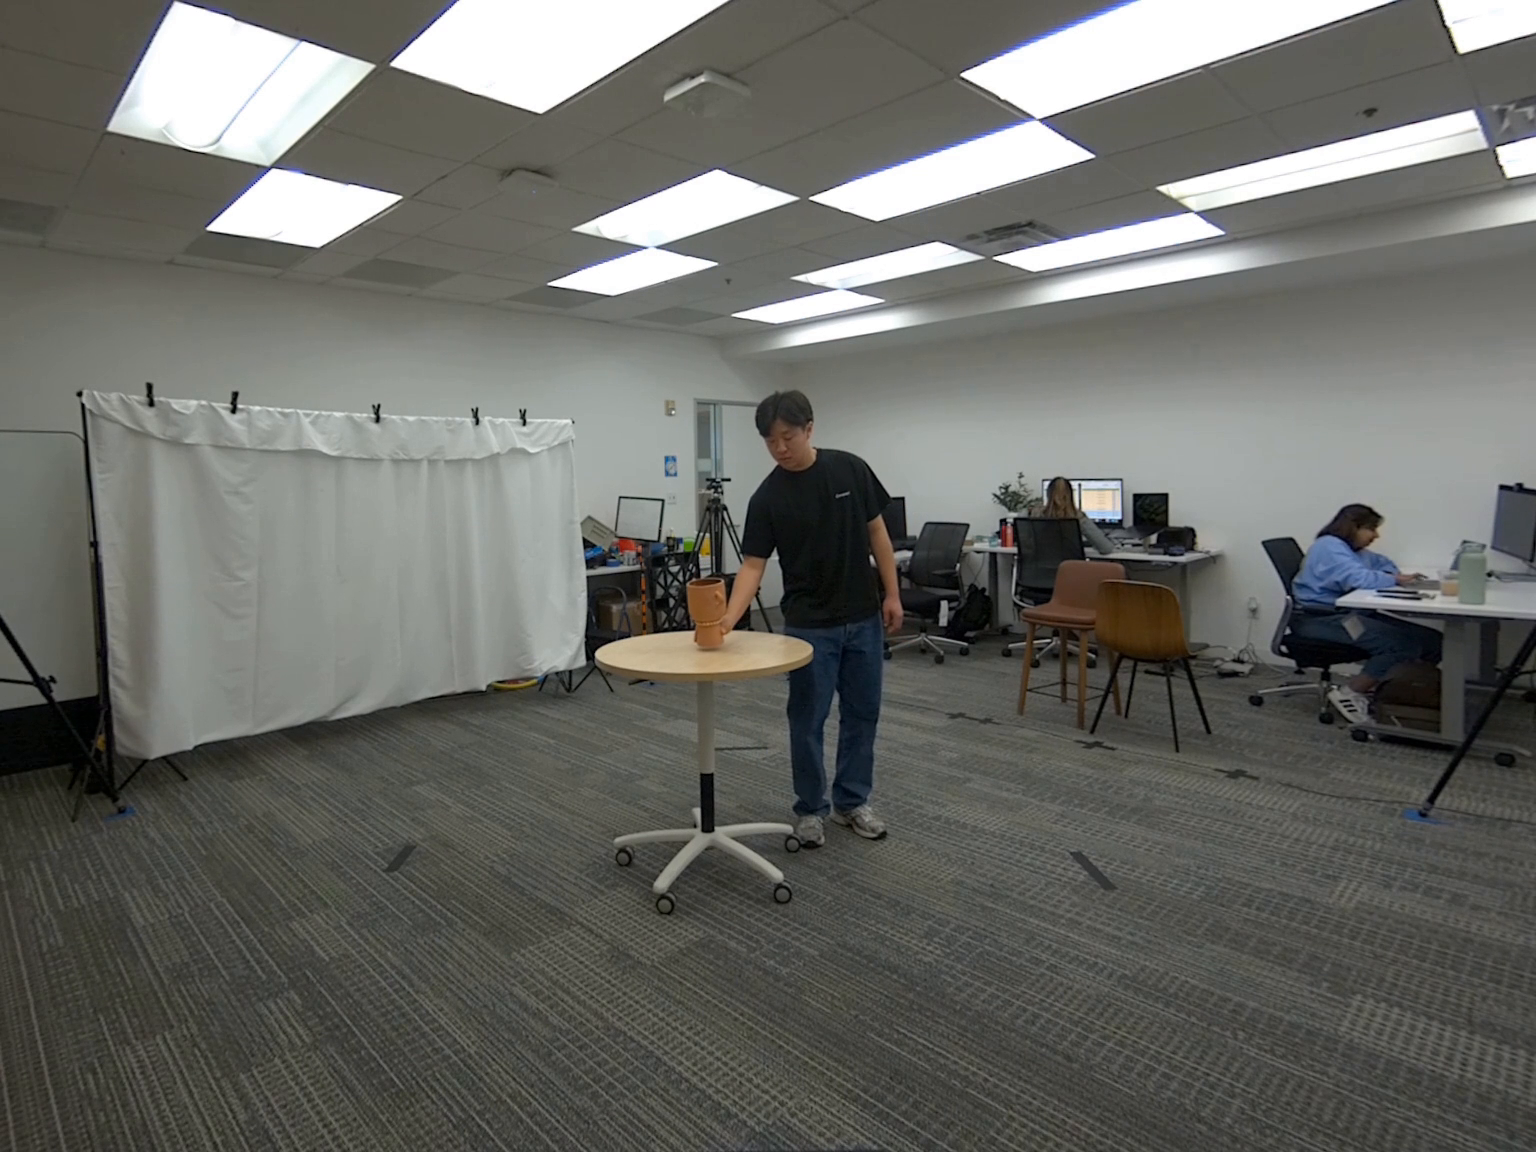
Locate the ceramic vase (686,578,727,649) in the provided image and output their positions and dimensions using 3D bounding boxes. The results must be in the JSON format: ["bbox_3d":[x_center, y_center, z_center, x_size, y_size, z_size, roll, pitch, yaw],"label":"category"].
[{"bbox_3d":[-0.203,0.128,2.994,0.135,0.218,0.159,-2,10,6],"label":"ceramic vase"}]
